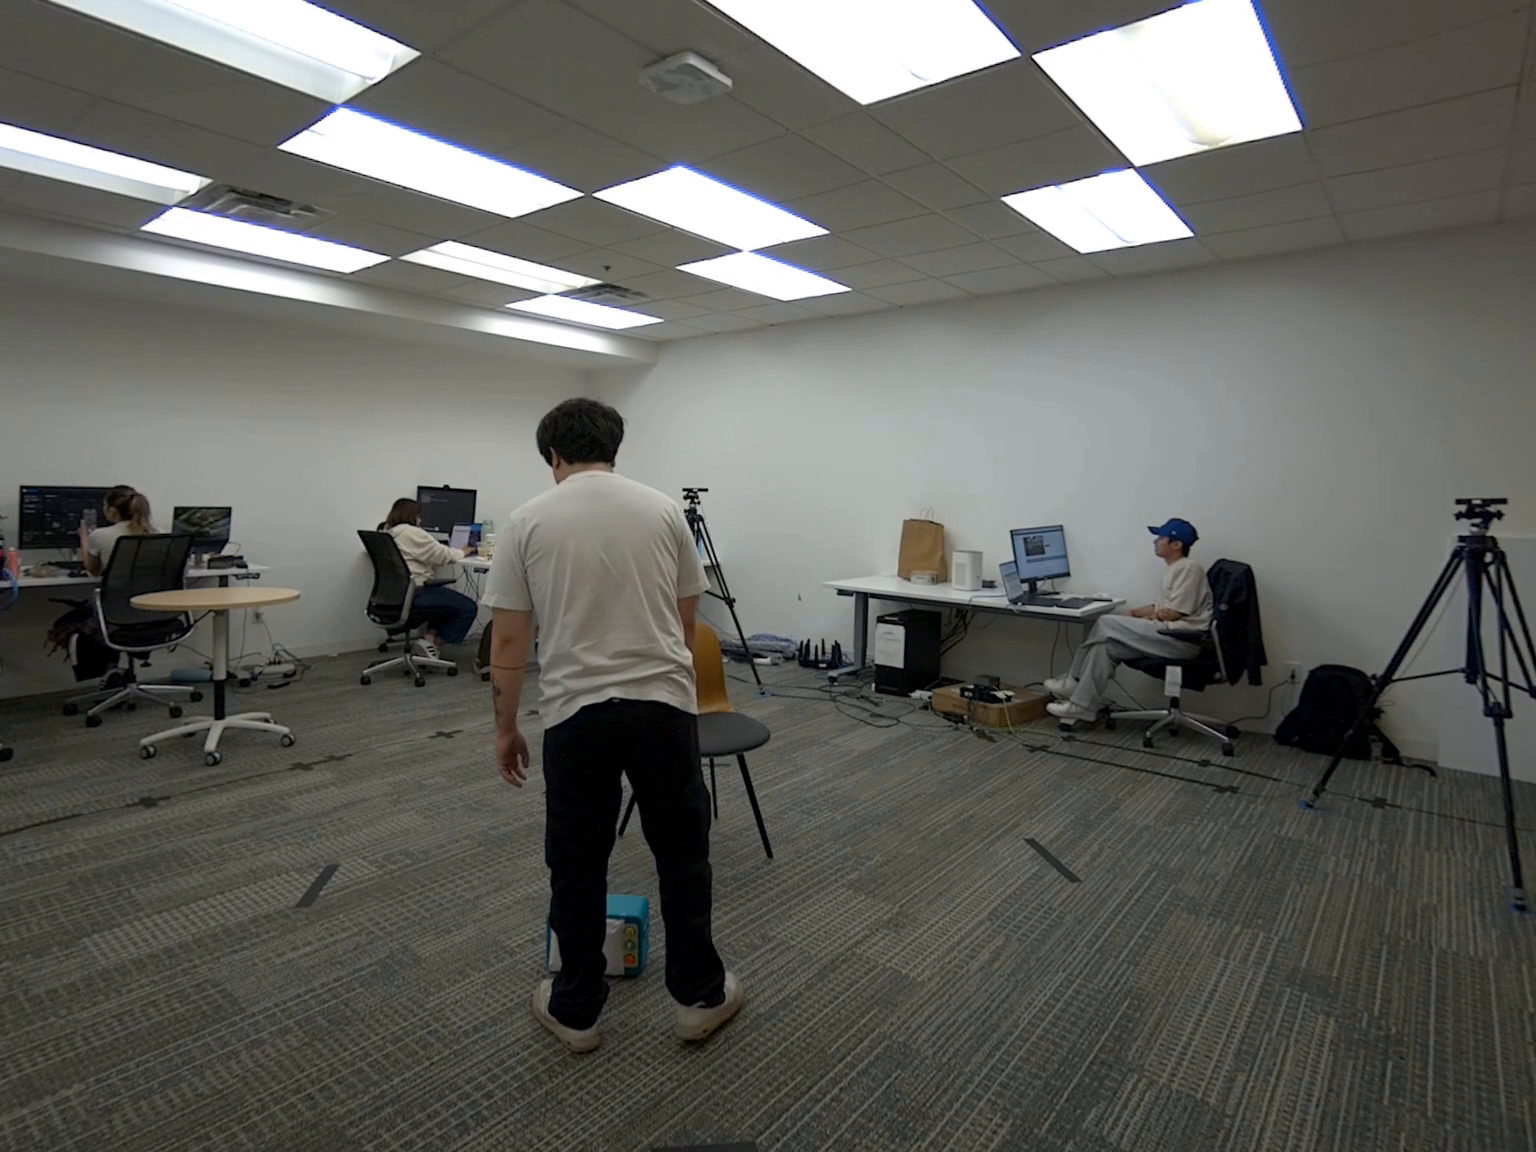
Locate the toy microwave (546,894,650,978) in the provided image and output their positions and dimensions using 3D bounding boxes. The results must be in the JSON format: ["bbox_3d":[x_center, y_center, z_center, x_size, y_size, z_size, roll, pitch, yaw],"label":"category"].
[{"bbox_3d":[-0.498,1.036,2.461,0.287,0.184,0.152,1,1,3],"label":"toy microwave"}]
